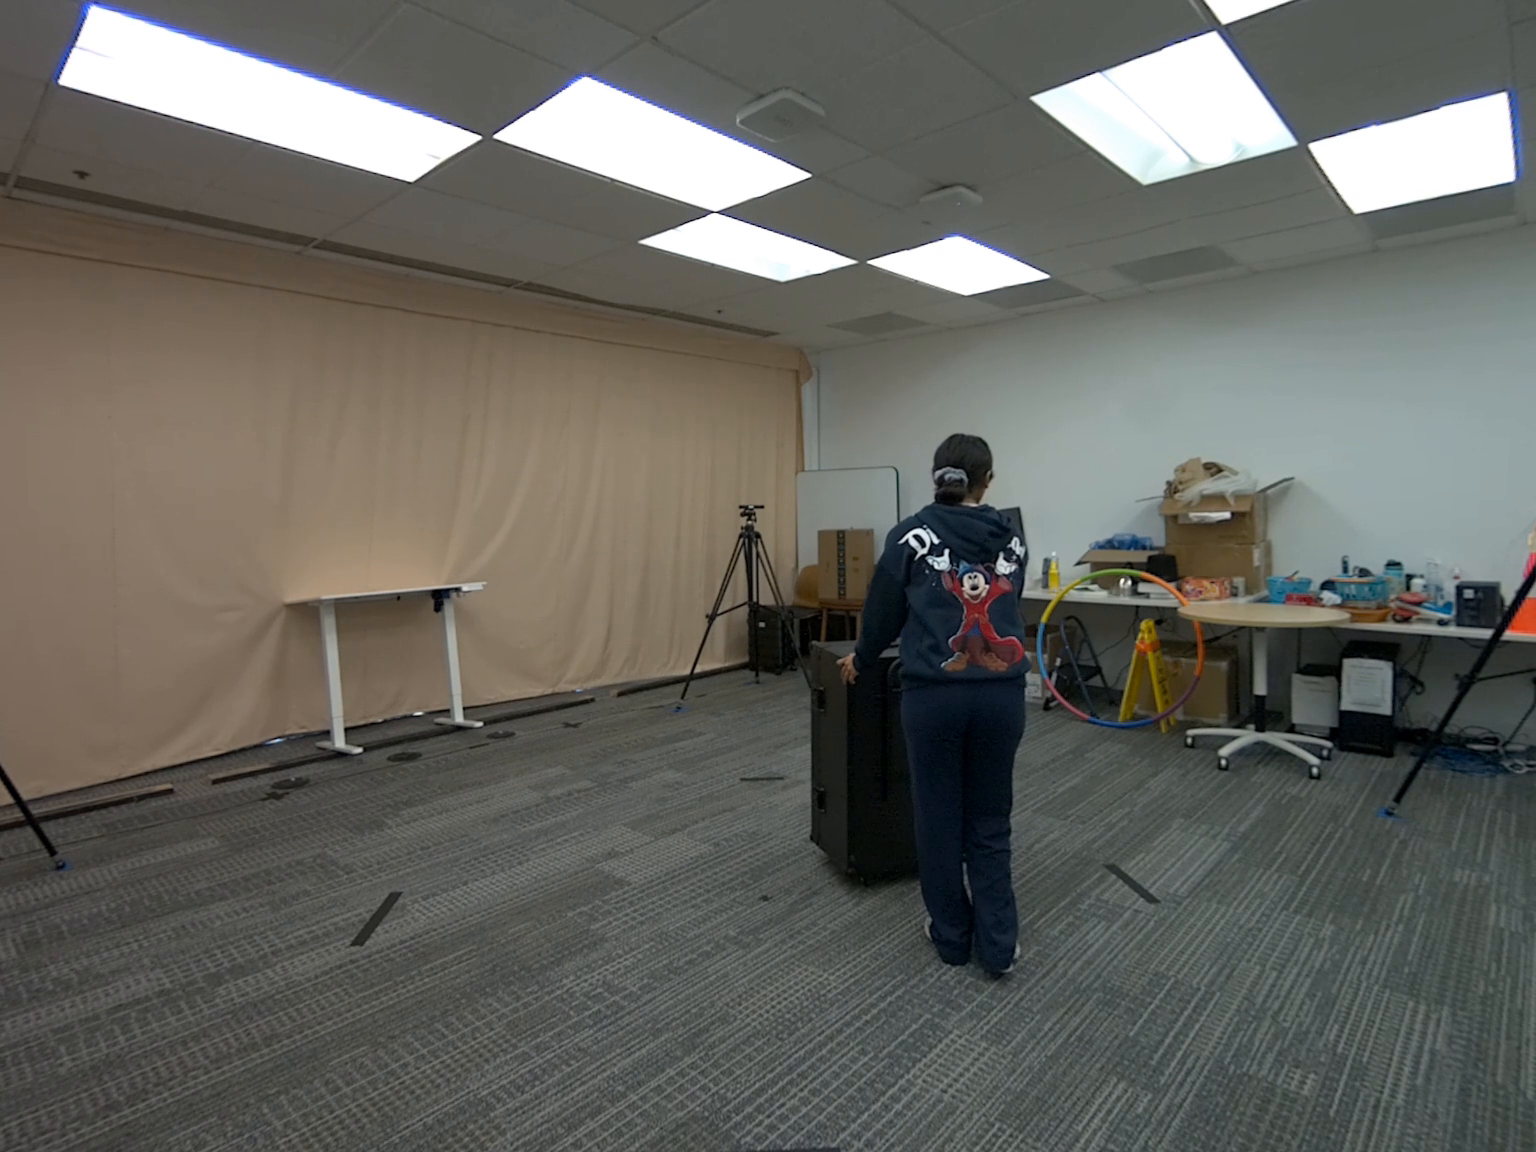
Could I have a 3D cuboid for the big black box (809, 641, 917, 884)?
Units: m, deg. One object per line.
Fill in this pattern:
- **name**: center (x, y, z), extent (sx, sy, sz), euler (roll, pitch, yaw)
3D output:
- **big black box**: center (0.462, 0.693, 3.176), extent (0.513, 0.859, 0.404), euler (-1, 5, -16)
